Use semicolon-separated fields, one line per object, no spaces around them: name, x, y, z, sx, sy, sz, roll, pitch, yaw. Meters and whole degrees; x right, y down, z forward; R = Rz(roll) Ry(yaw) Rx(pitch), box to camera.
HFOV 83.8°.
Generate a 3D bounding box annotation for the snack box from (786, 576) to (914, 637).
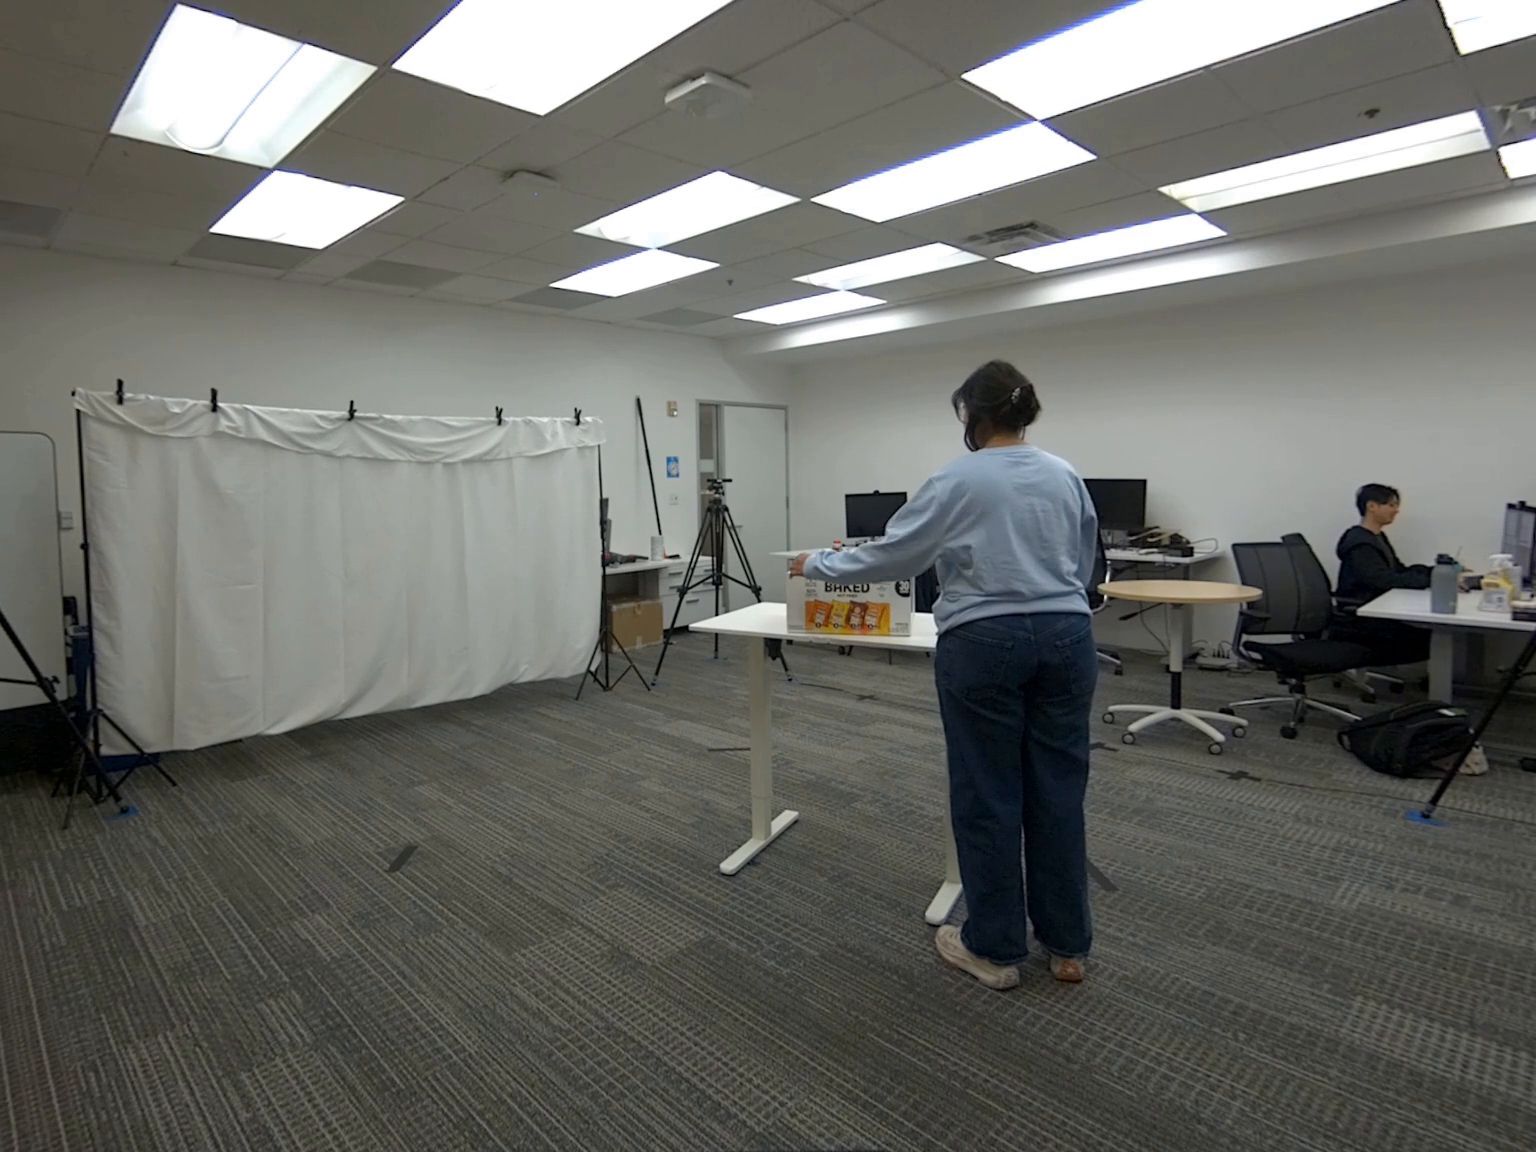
snack box;0.296;0.070;2.952;0.411;0.204;0.338;1;7;13
